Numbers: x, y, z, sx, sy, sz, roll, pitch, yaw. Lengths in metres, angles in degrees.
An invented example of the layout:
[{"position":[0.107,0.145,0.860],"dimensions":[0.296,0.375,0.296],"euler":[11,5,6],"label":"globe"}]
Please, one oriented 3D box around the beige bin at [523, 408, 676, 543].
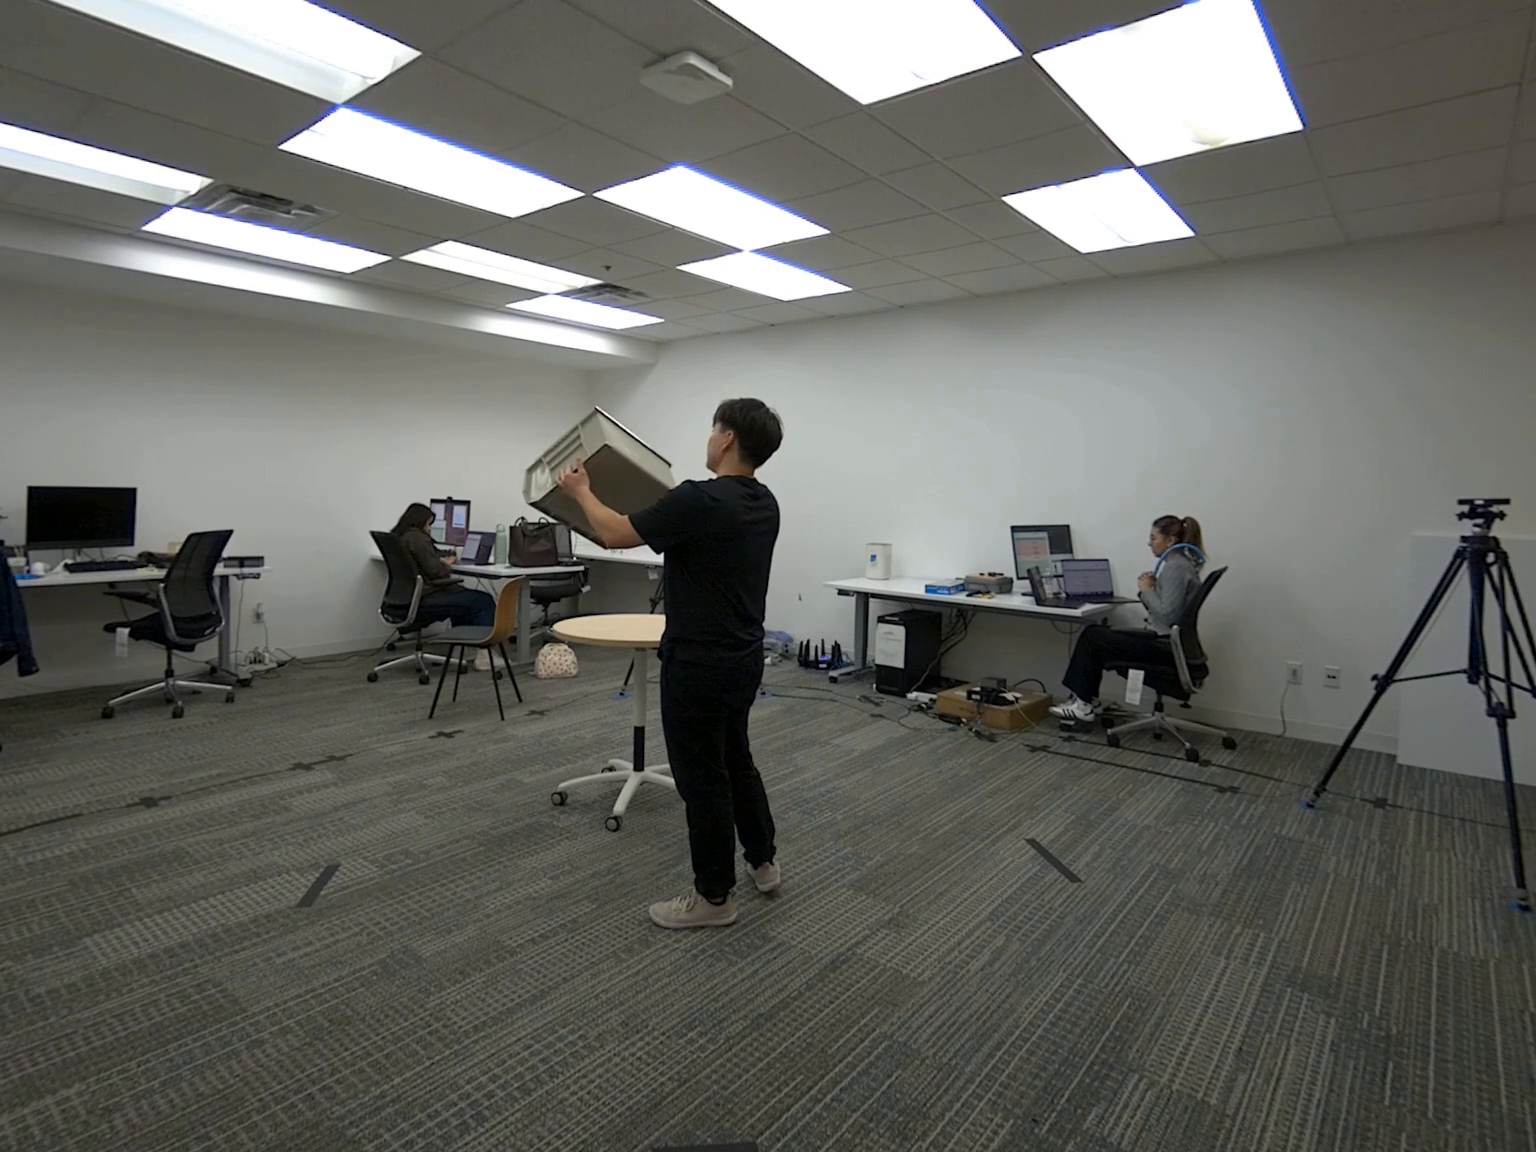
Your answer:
[{"position":[-0.586,-0.315,2.973],"dimensions":[0.379,0.196,0.404],"euler":[-36,-40,17],"label":"beige bin"}]
